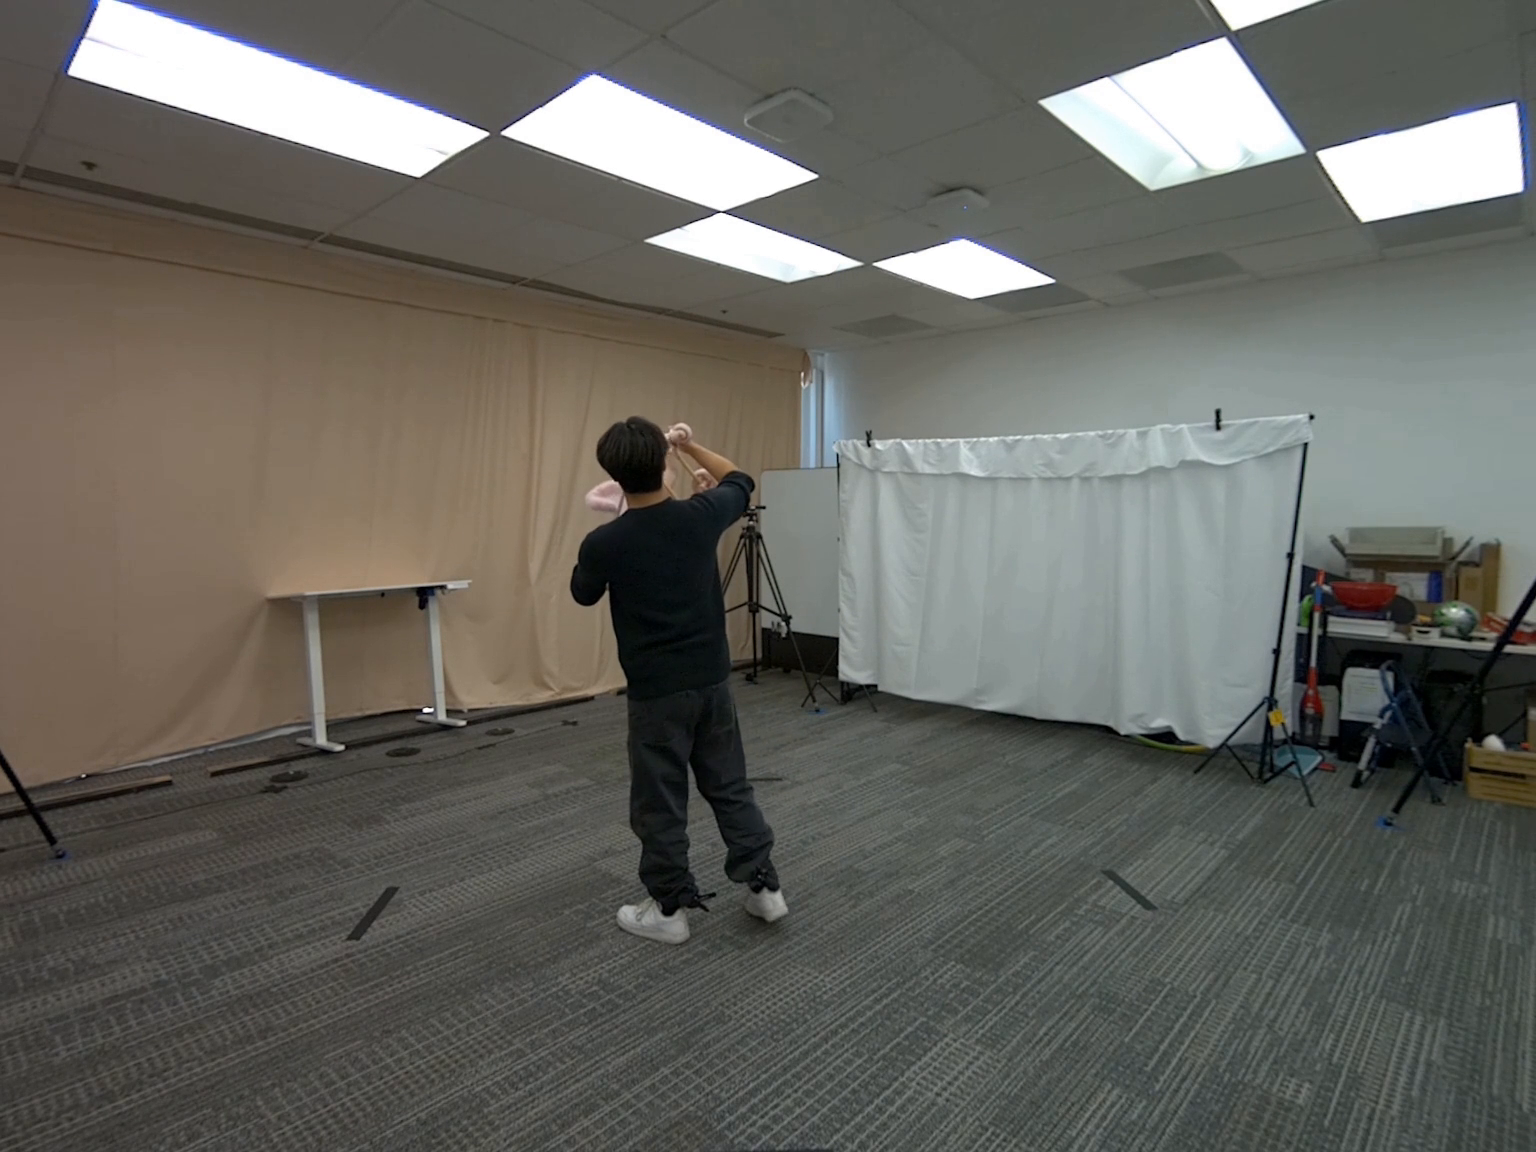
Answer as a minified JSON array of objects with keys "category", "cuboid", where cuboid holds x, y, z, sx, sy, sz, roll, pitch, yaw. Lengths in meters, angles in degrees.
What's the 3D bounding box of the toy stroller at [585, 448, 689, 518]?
[{"category":"toy stroller","cuboid":[-0.422,-0.314,3.012,0.546,0.333,0.283,-18,29,27]}]
